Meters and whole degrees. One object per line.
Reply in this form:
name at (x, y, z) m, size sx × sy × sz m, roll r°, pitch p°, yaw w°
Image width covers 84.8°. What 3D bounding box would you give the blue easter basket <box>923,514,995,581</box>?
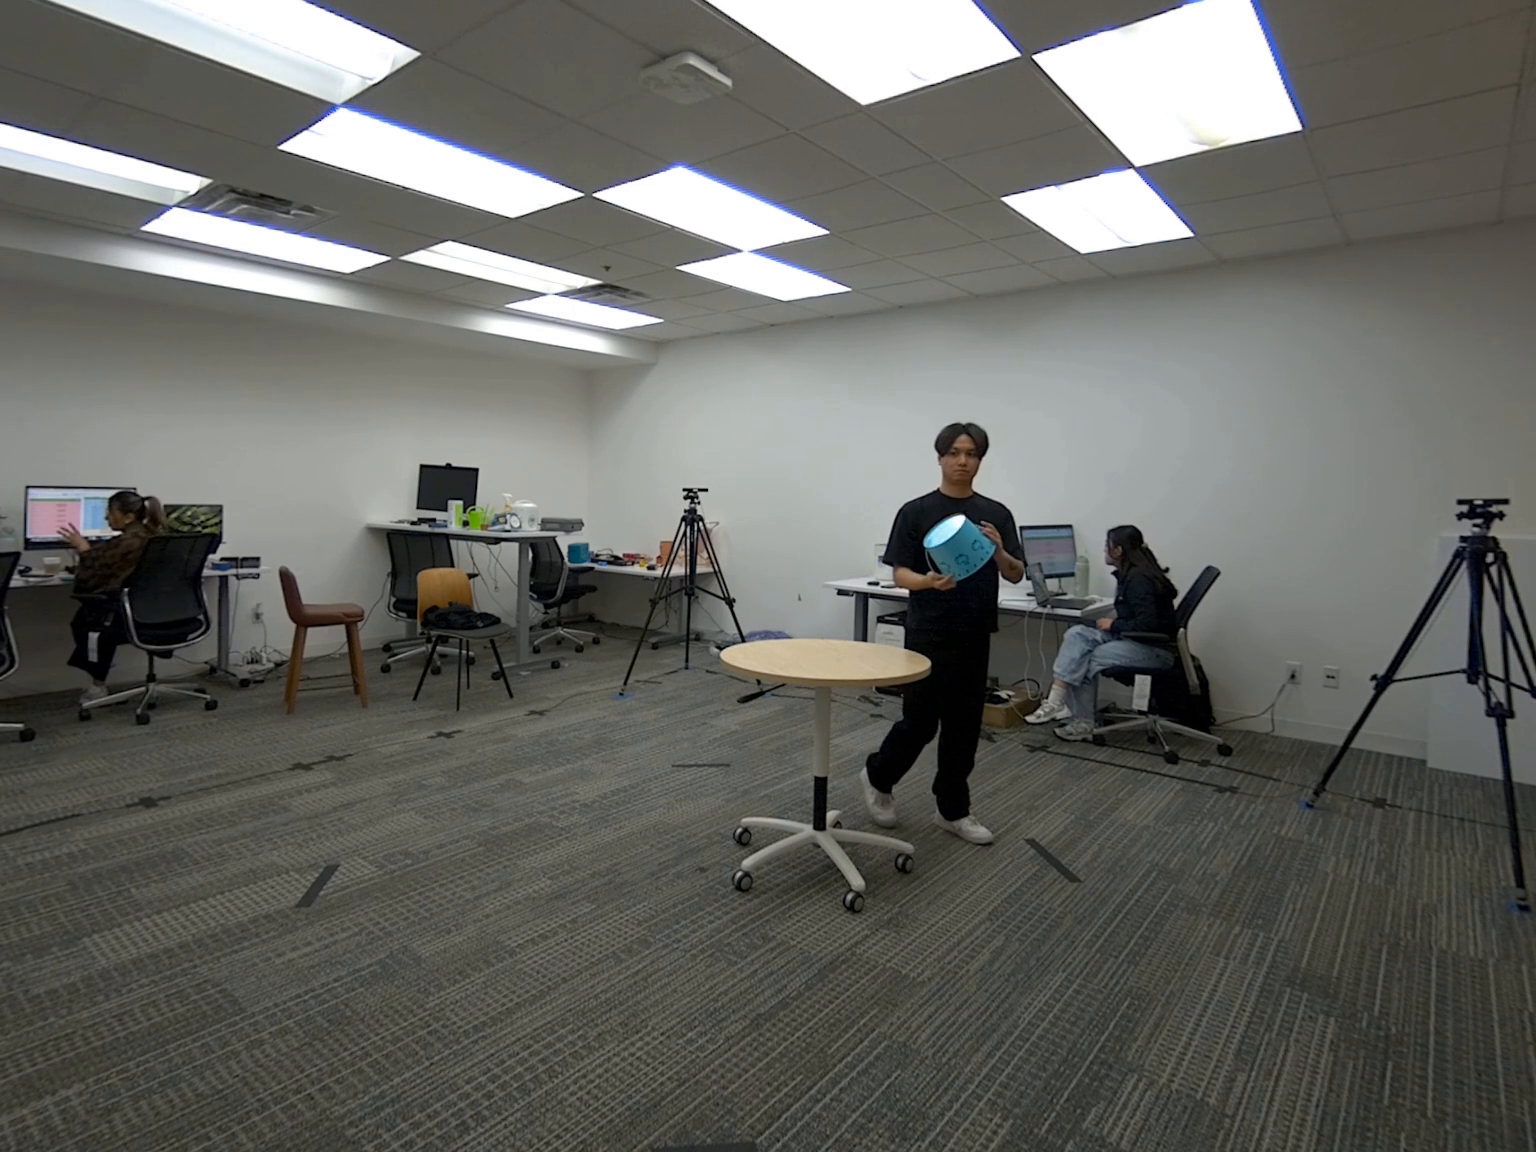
blue easter basket at (0.675, -0.115, 3.148) m, size 0.244 × 0.153 × 0.248 m, roll -39°, pitch 16°, yaw 10°
